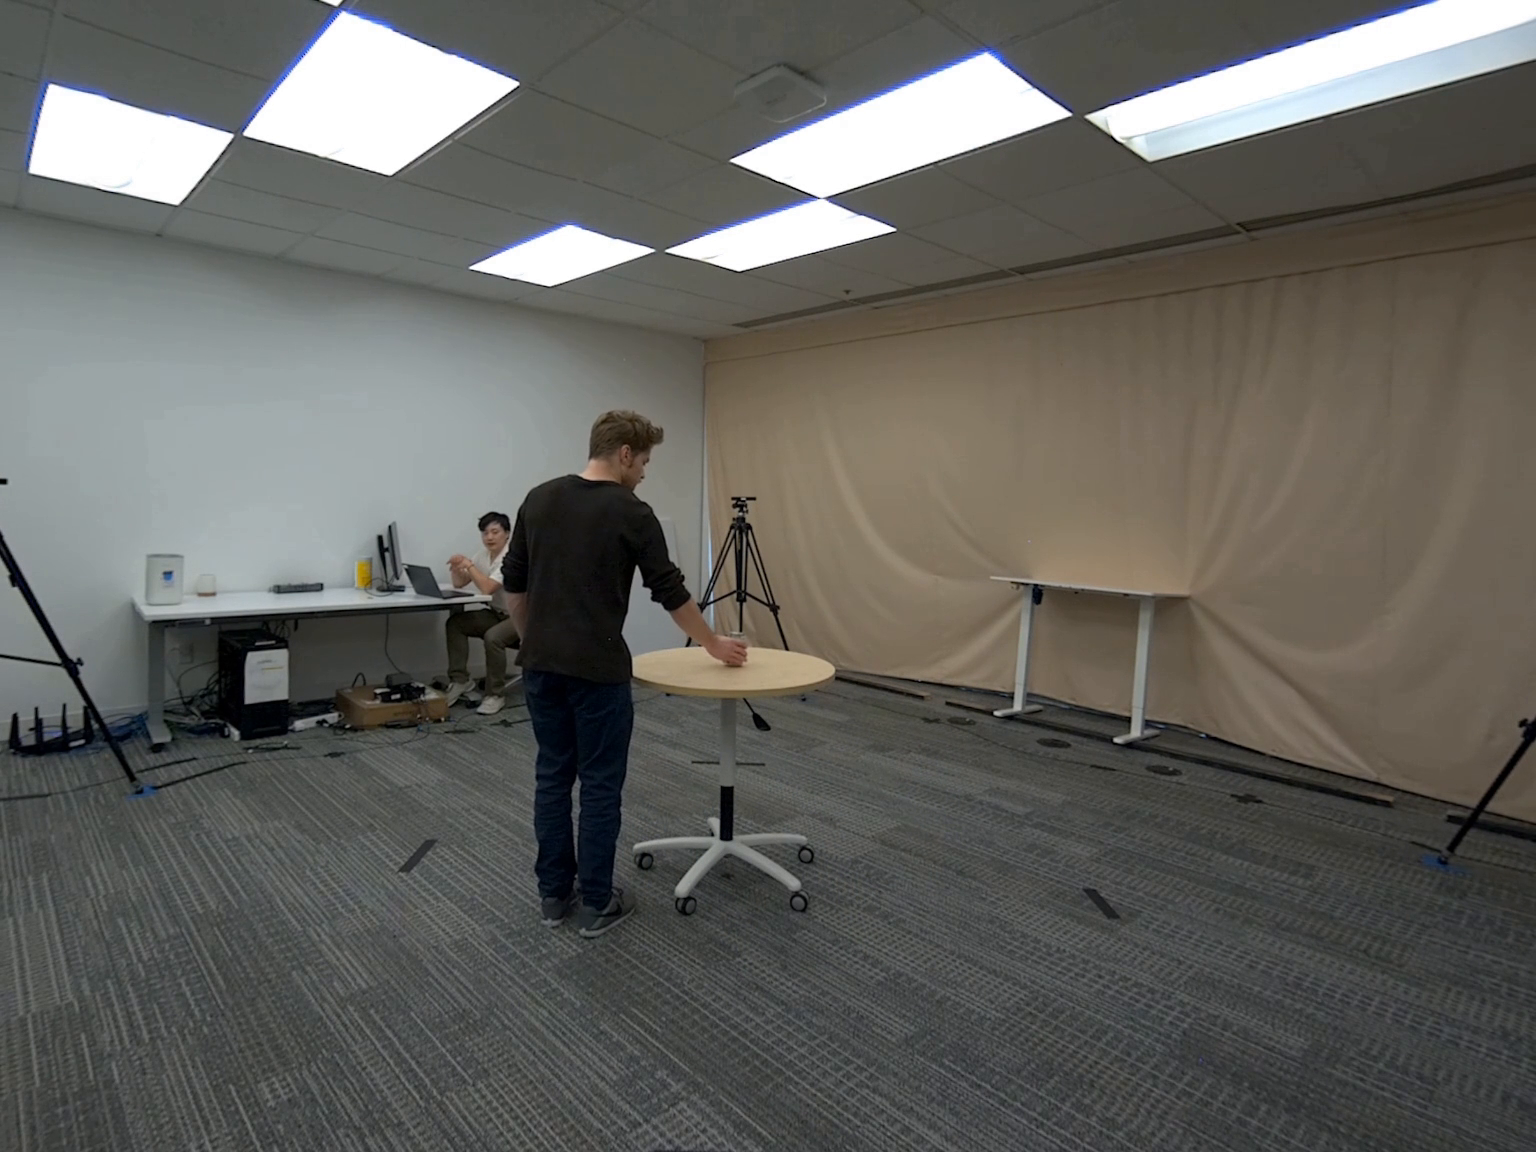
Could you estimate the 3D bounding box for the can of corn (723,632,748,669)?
[{"bbox_3d":[-0.121,0.266,3.059,0.074,0.111,0.074,6,3,-2],"label":"can of corn"}]
